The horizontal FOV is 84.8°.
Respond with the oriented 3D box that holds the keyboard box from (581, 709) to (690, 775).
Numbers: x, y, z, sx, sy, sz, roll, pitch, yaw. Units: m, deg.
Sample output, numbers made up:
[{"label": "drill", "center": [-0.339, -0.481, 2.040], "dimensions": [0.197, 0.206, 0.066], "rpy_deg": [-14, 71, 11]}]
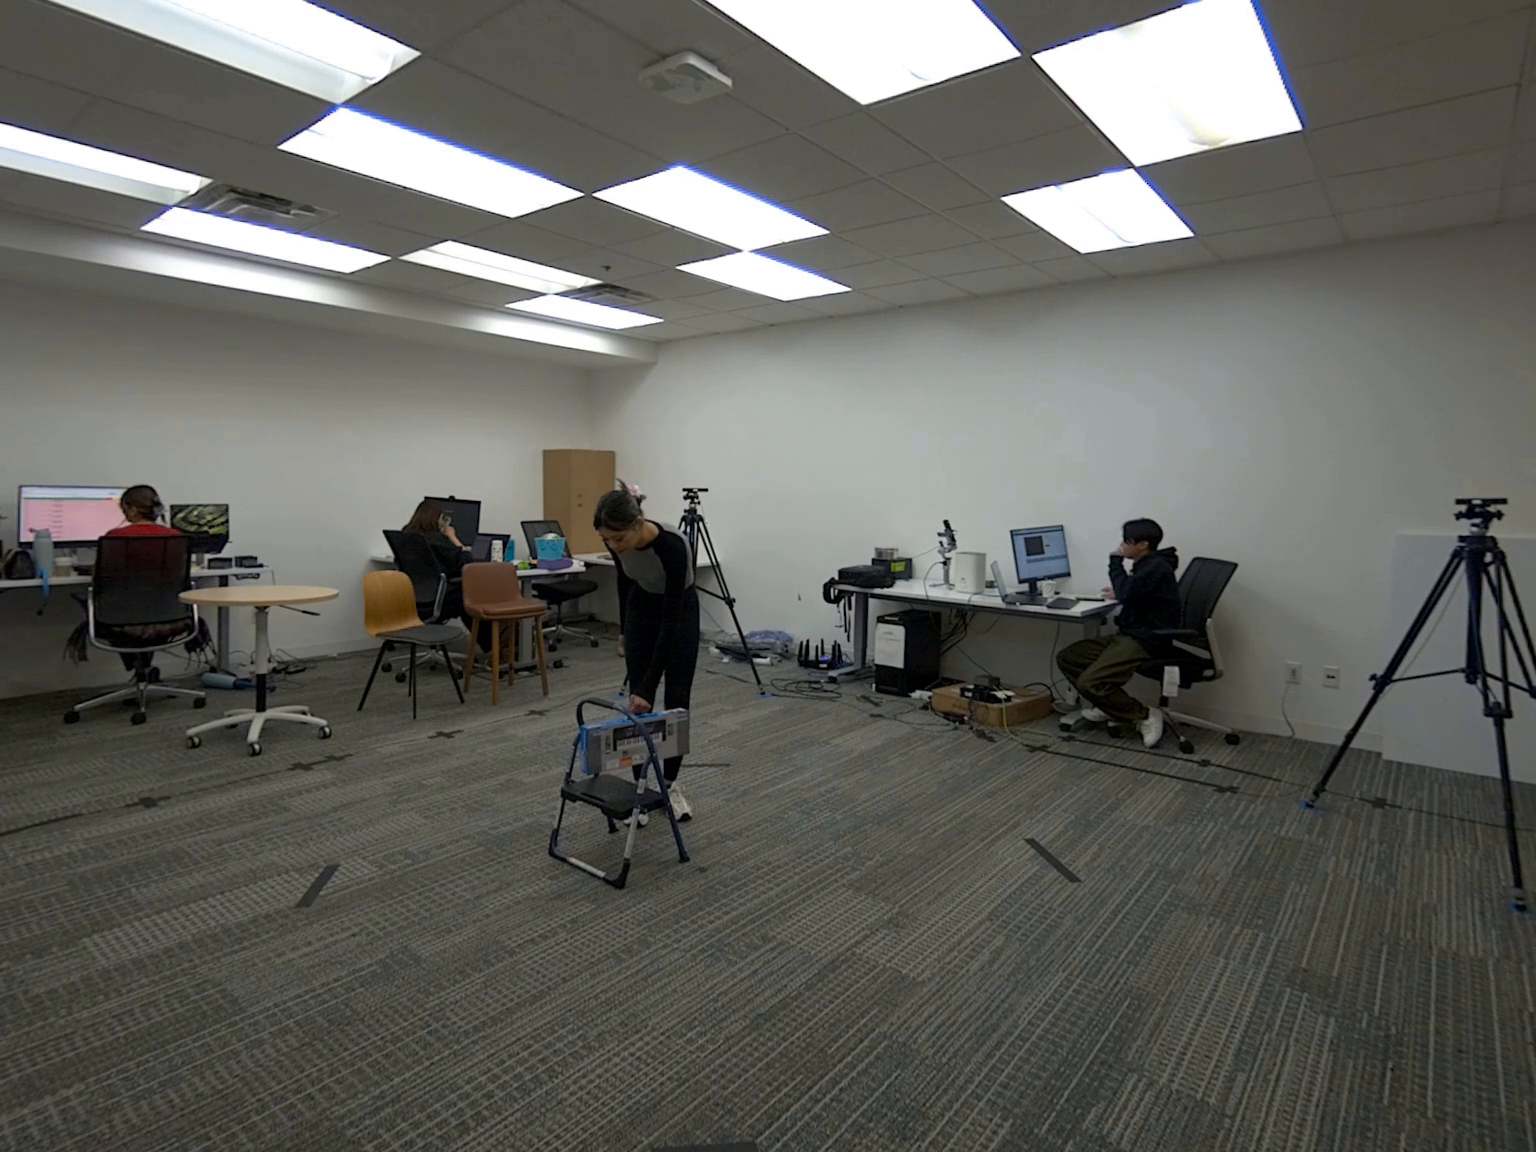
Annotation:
[{"label": "keyboard box", "center": [-0.509, 0.621, 3.215], "dimensions": [0.425, 0.175, 0.061], "rpy_deg": [-5, 6, -34]}]
